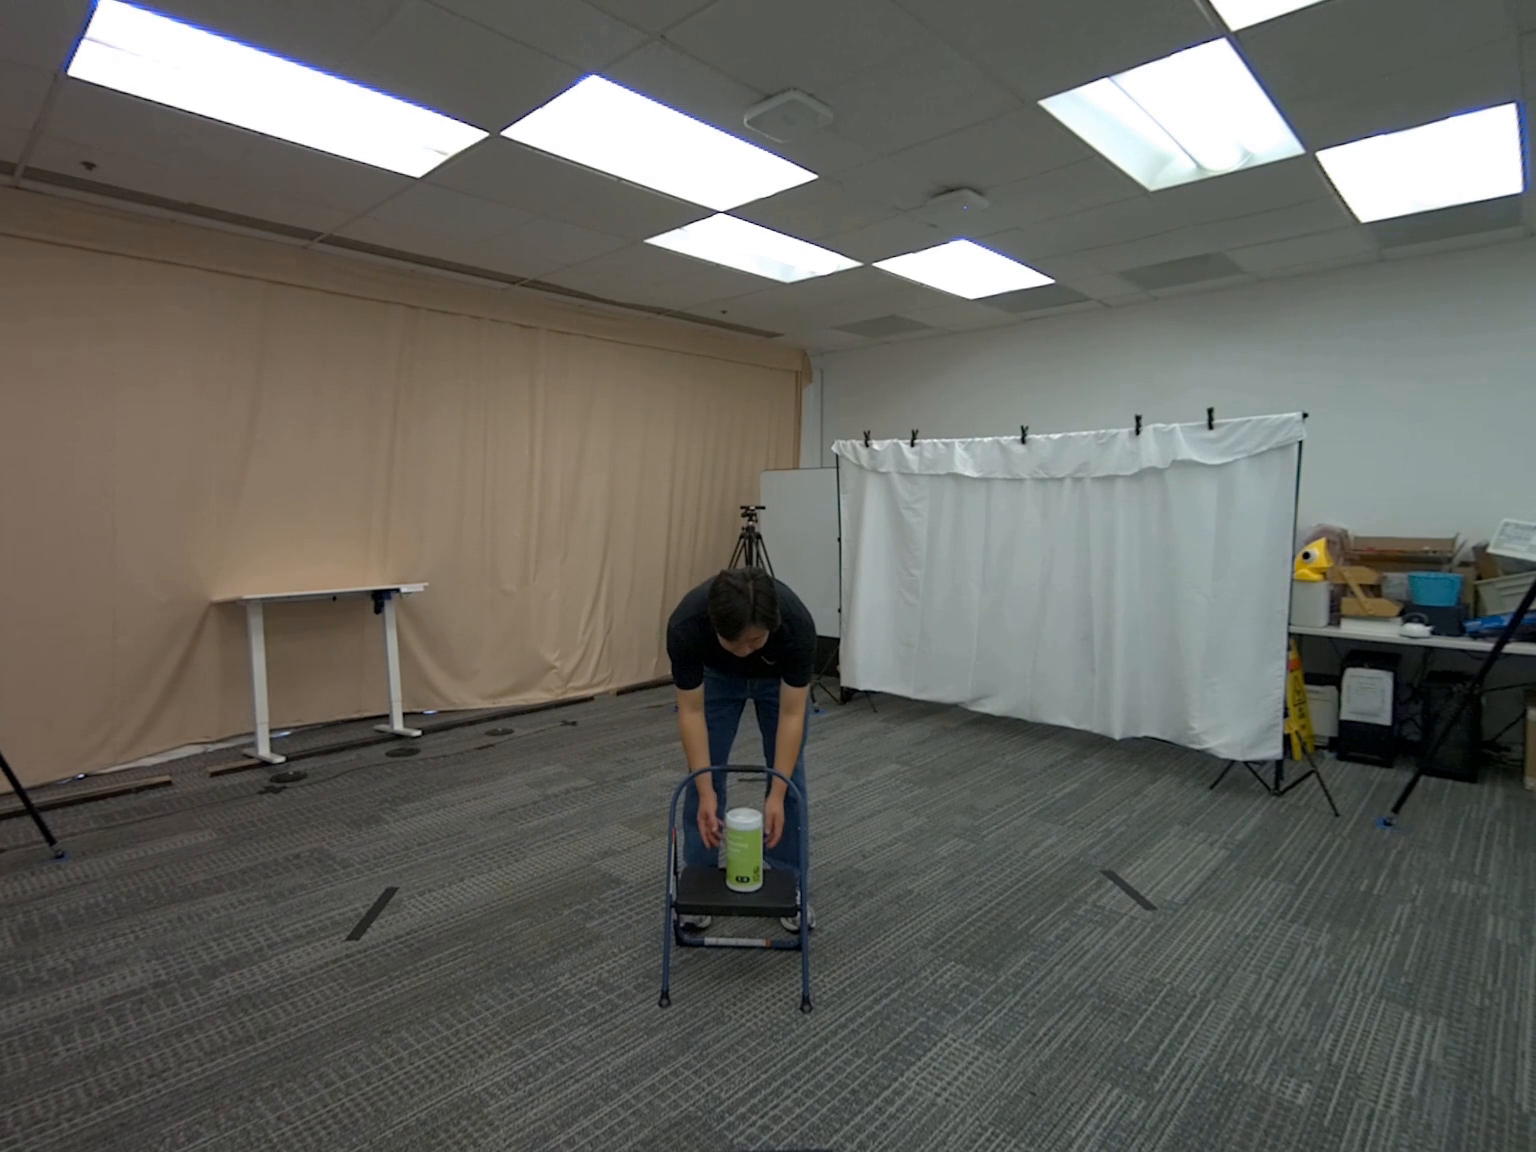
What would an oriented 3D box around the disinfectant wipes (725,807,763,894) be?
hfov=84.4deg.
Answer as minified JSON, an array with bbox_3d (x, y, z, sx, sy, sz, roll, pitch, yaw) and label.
[{"bbox_3d":[-0.057,0.810,2.515,0.118,0.216,0.118,-2,6,-2],"label":"disinfectant wipes"}]
